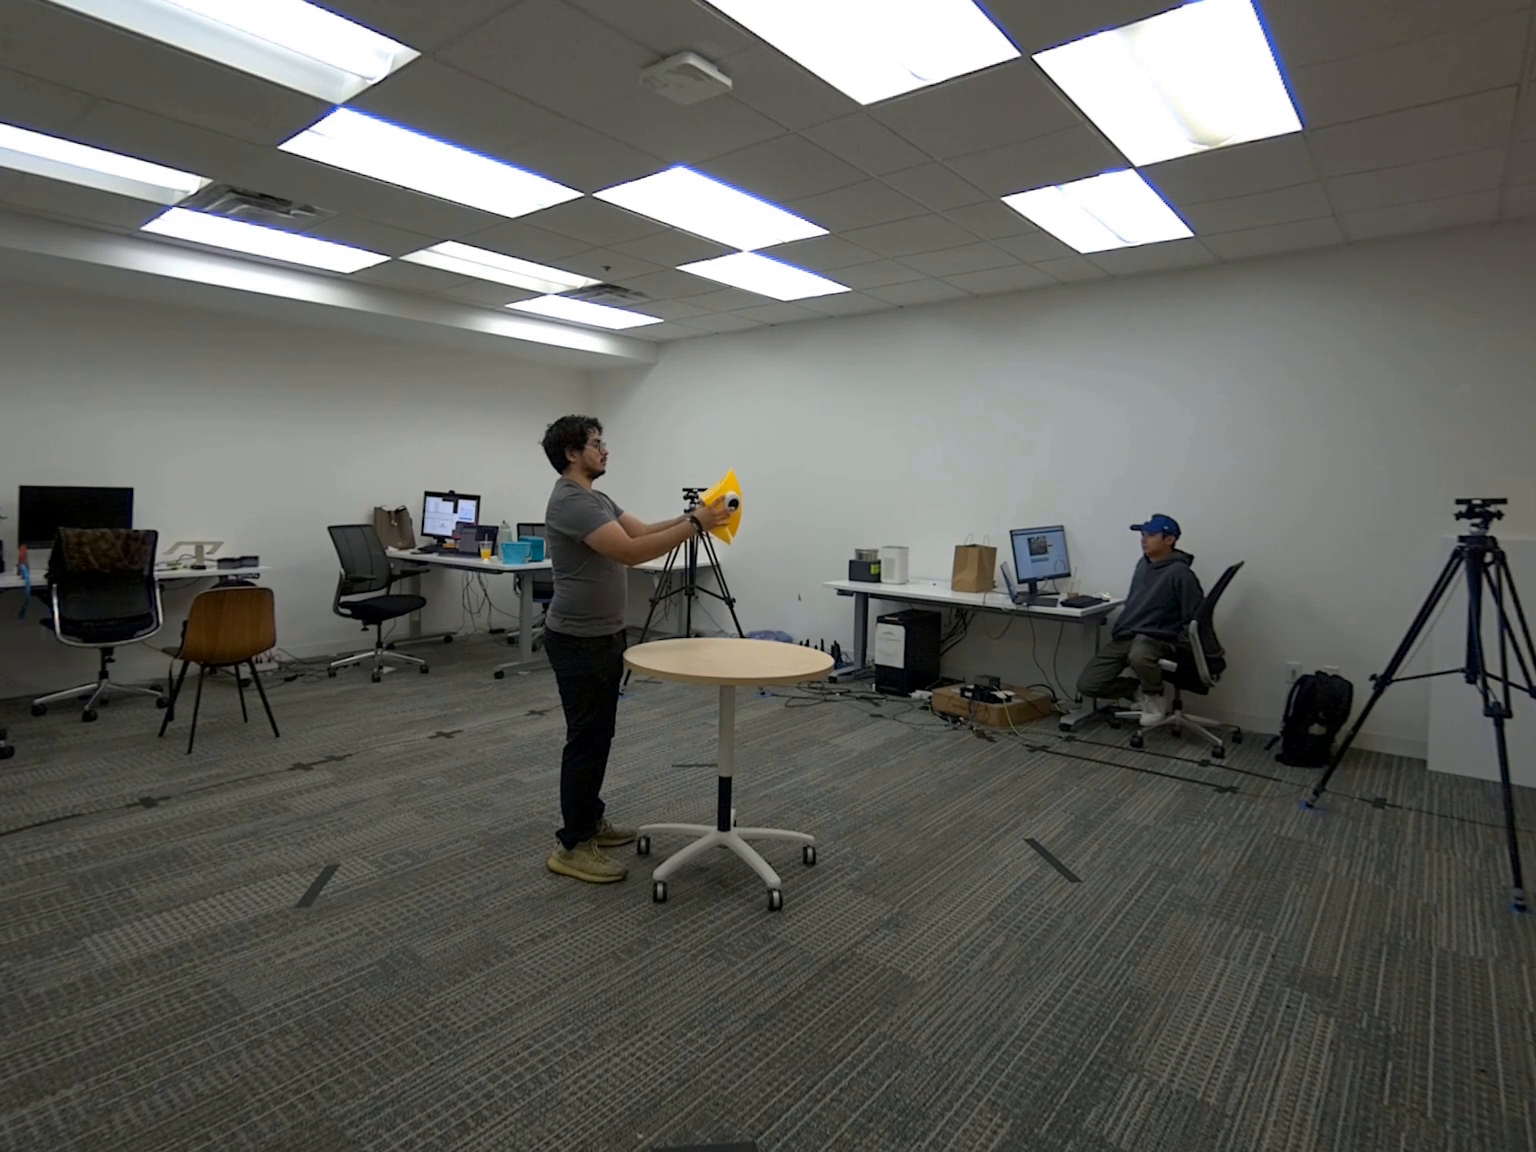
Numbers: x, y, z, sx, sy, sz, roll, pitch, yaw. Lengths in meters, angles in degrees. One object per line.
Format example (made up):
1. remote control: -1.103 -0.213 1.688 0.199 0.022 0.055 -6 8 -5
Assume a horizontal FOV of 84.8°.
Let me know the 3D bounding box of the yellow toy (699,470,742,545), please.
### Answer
1. yellow toy: -0.168 -0.275 3.163 0.190 0.230 0.208 32 6 -11
